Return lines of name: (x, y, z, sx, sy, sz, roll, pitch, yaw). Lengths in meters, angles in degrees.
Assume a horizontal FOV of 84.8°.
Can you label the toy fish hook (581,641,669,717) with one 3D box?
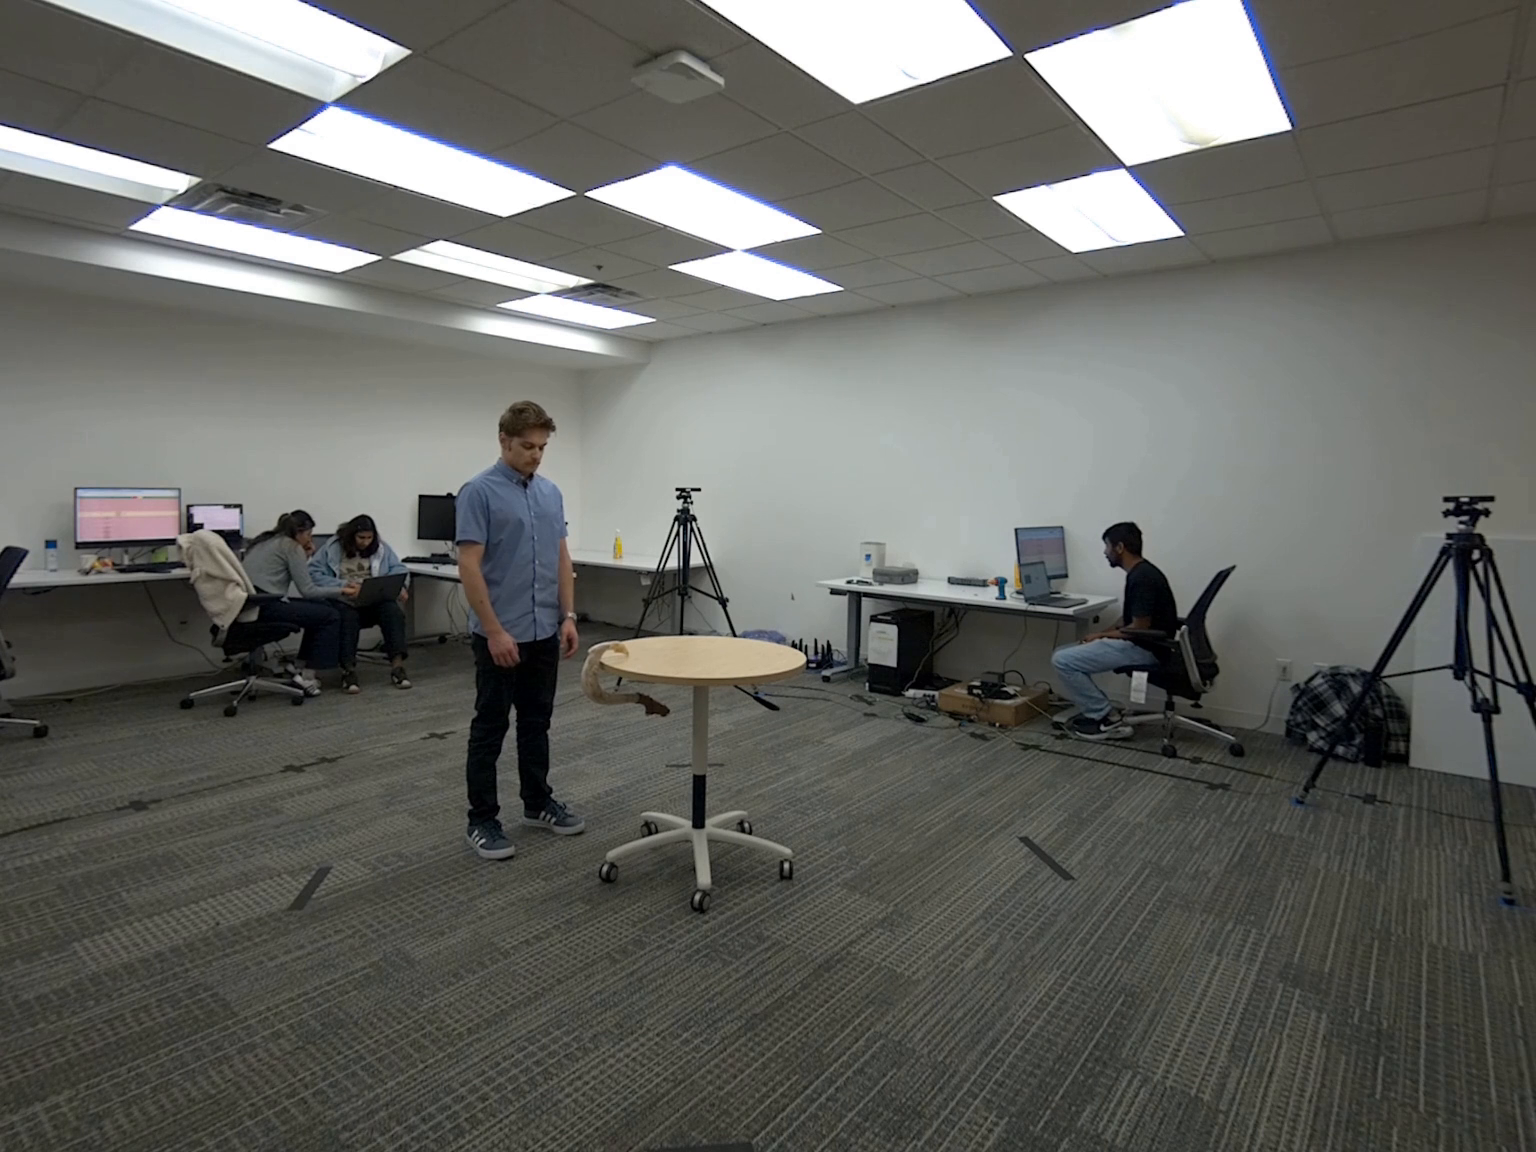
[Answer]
toy fish hook: (-0.510, 0.383, 3.083, 0.050, 0.226, 0.486, 8, -16, 36)
